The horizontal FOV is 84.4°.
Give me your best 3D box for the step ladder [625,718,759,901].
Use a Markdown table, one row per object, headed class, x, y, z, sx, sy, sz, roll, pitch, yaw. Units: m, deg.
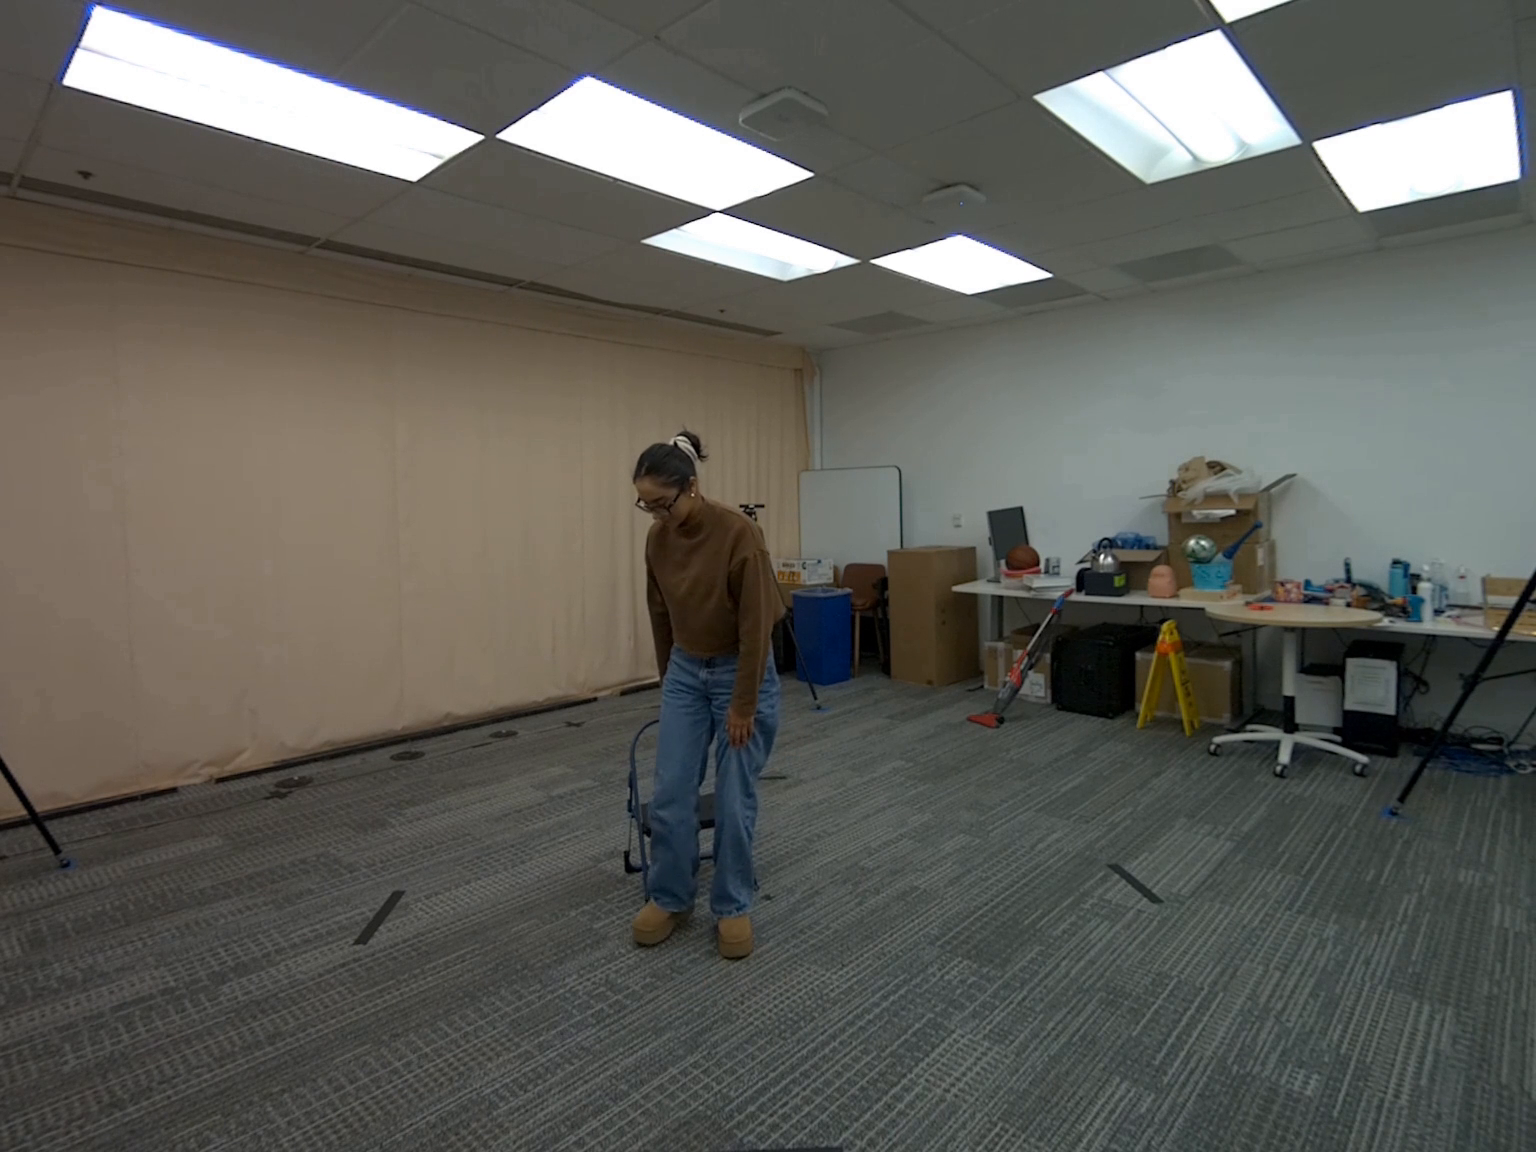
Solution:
| class | x | y | z | sx | sy | sz | roll | pitch | yaw |
| --- | --- | --- | --- | --- | --- | --- | --- | --- | --- |
| step ladder | -0.300 | 0.834 | 3.116 | 0.421 | 0.605 | 0.357 | -3 | 4 | -22 |
